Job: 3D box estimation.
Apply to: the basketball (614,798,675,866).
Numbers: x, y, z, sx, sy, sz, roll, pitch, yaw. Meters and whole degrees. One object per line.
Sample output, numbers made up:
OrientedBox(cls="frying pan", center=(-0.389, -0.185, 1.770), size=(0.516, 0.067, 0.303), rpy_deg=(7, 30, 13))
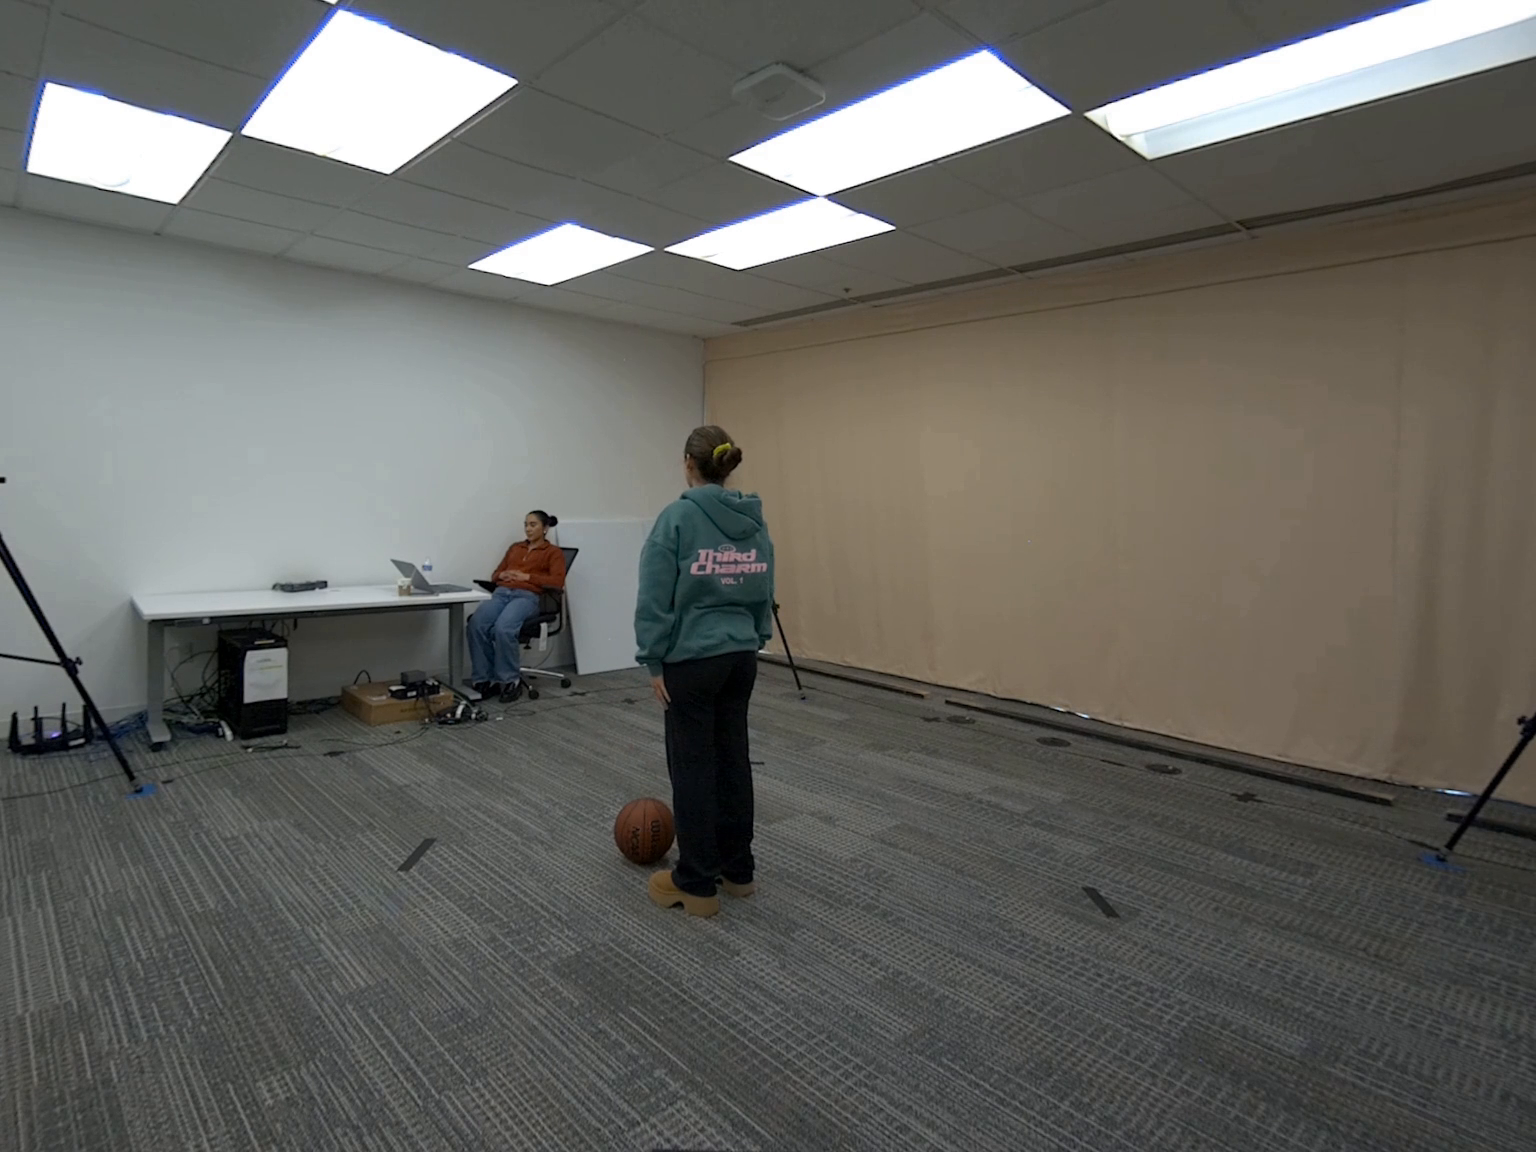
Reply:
OrientedBox(cls="basketball", center=(-0.478, 0.968, 3.209), size=(0.236, 0.235, 0.237), rpy_deg=(1, 4, -1))
